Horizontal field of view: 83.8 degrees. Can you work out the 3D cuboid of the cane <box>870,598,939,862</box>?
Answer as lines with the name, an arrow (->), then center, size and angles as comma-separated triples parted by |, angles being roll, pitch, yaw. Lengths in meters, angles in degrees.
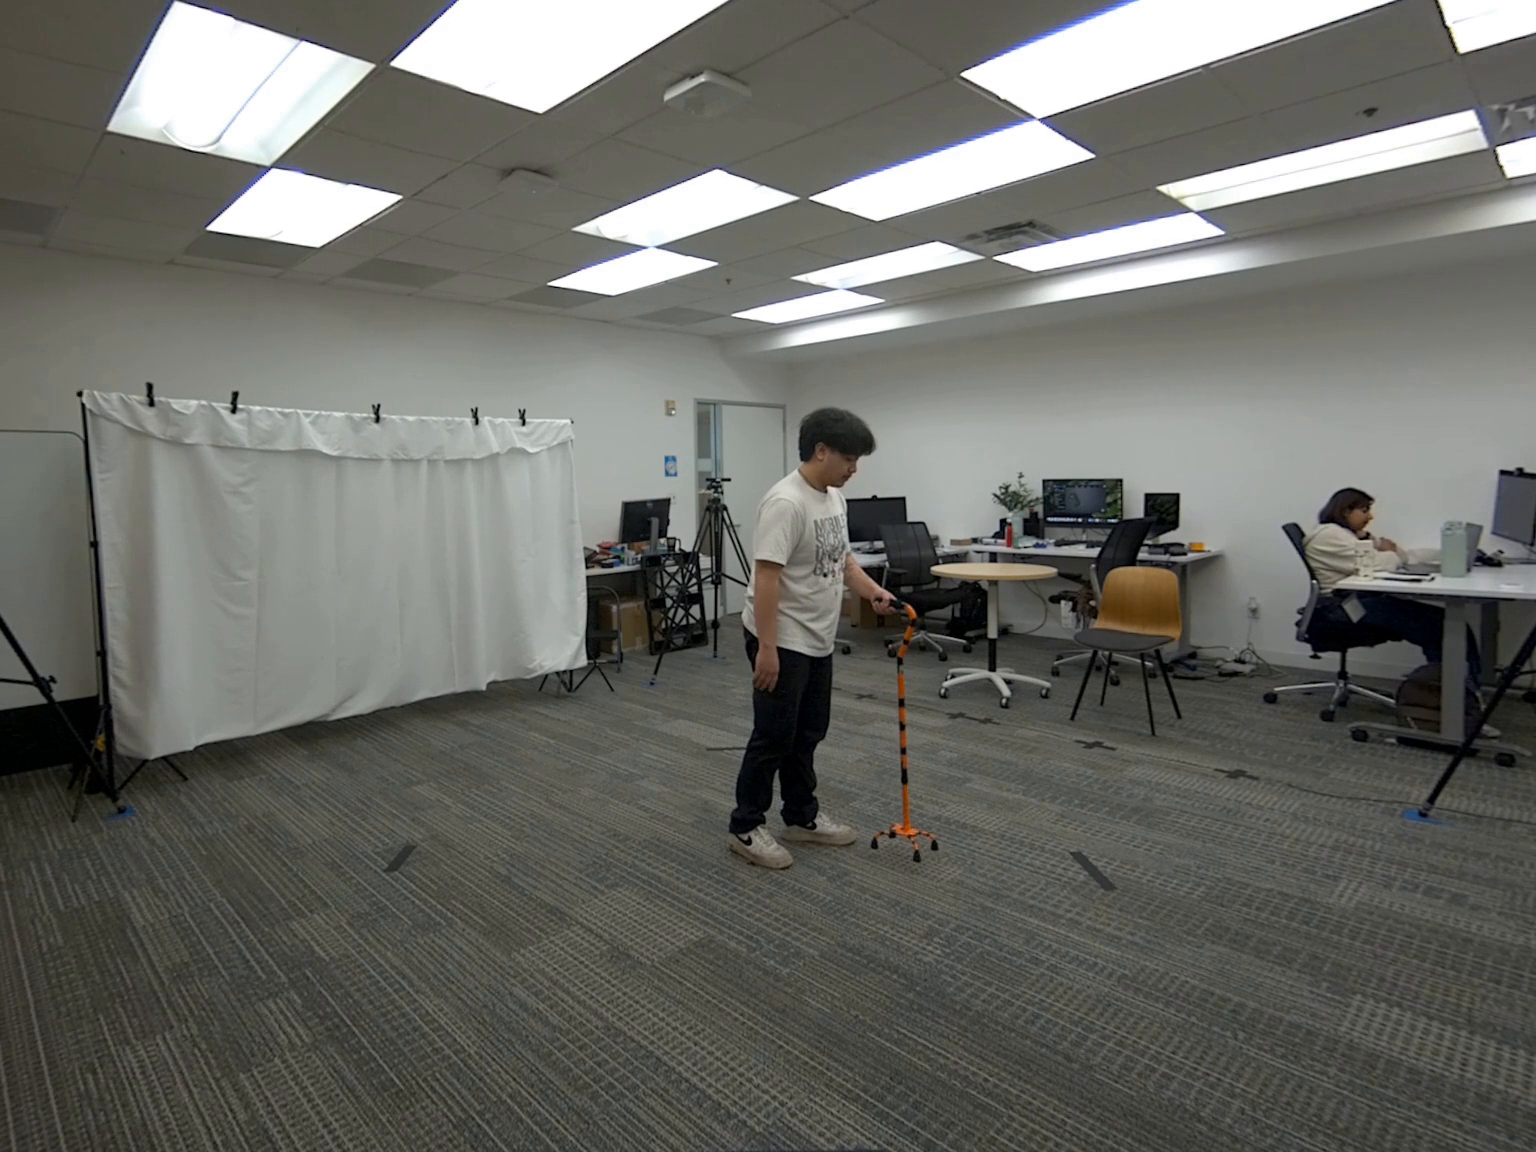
cane -> 0.479, 0.543, 3.087 | 0.212, 0.905, 0.147 | 1, 4, 44
